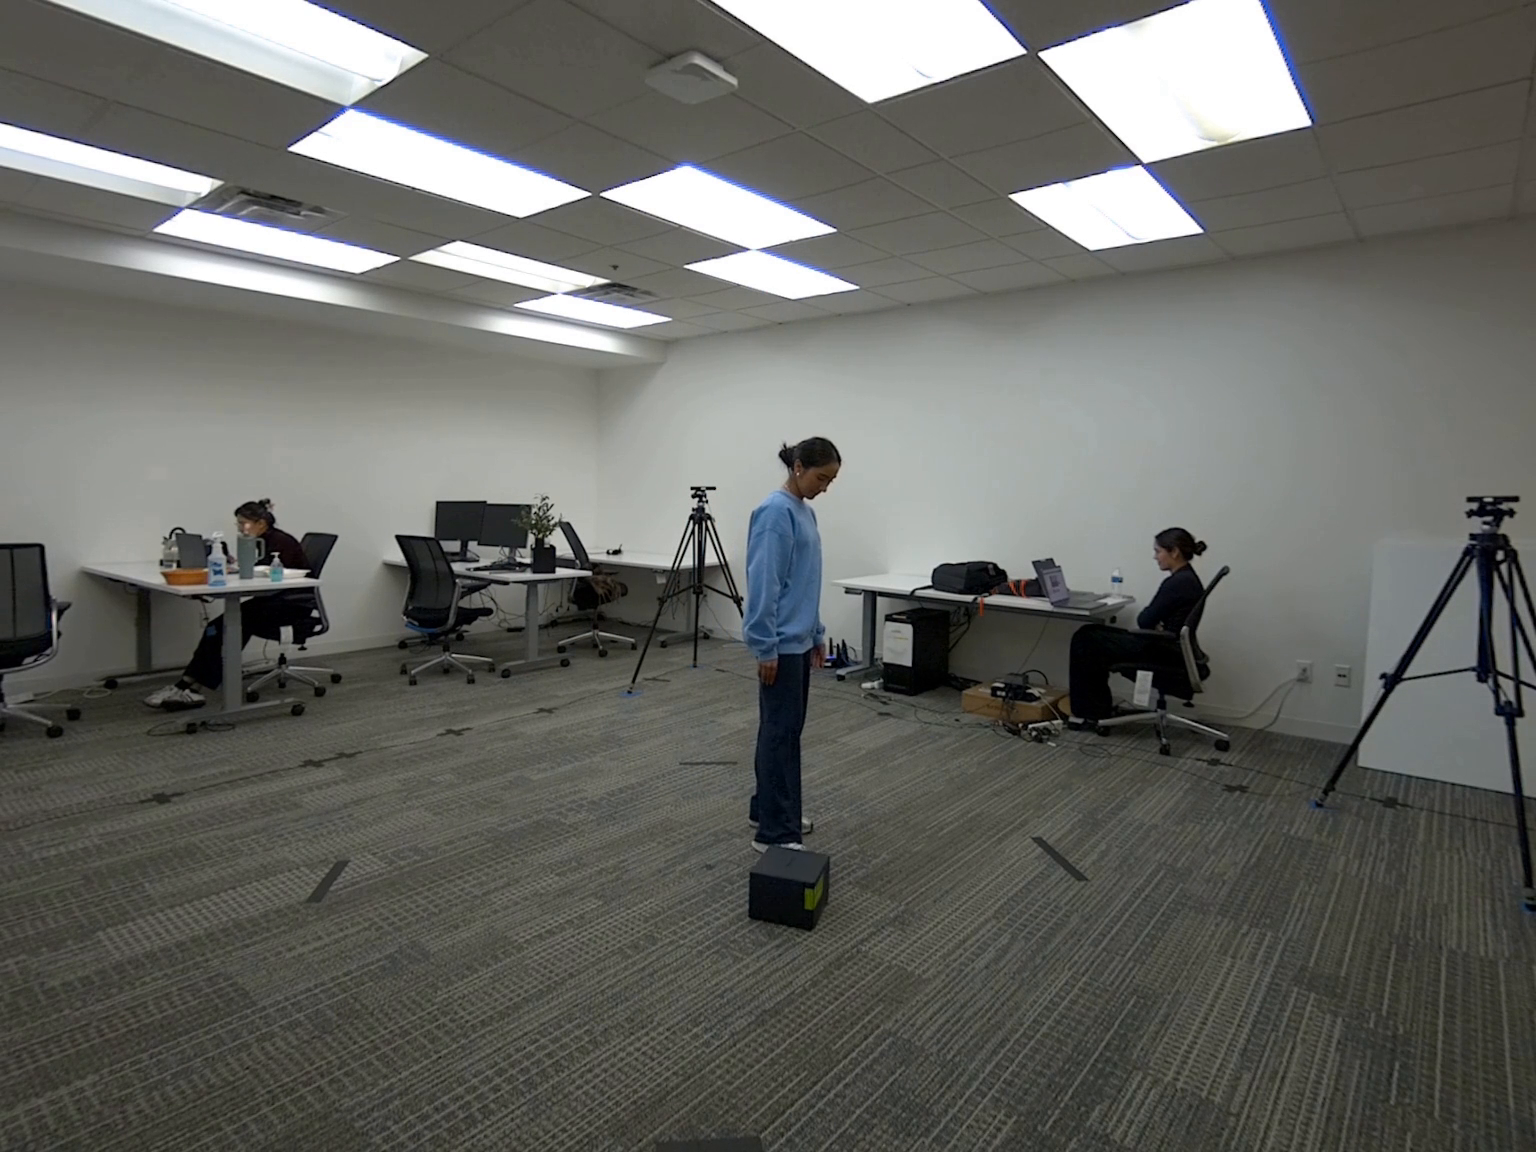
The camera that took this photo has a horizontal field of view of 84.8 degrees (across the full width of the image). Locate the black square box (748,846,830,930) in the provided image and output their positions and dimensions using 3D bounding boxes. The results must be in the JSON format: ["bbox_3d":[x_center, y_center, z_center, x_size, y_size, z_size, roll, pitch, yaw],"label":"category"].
[{"bbox_3d":[0.070,1.015,2.819,0.221,0.155,0.224,3,5,18],"label":"black square box"}]
